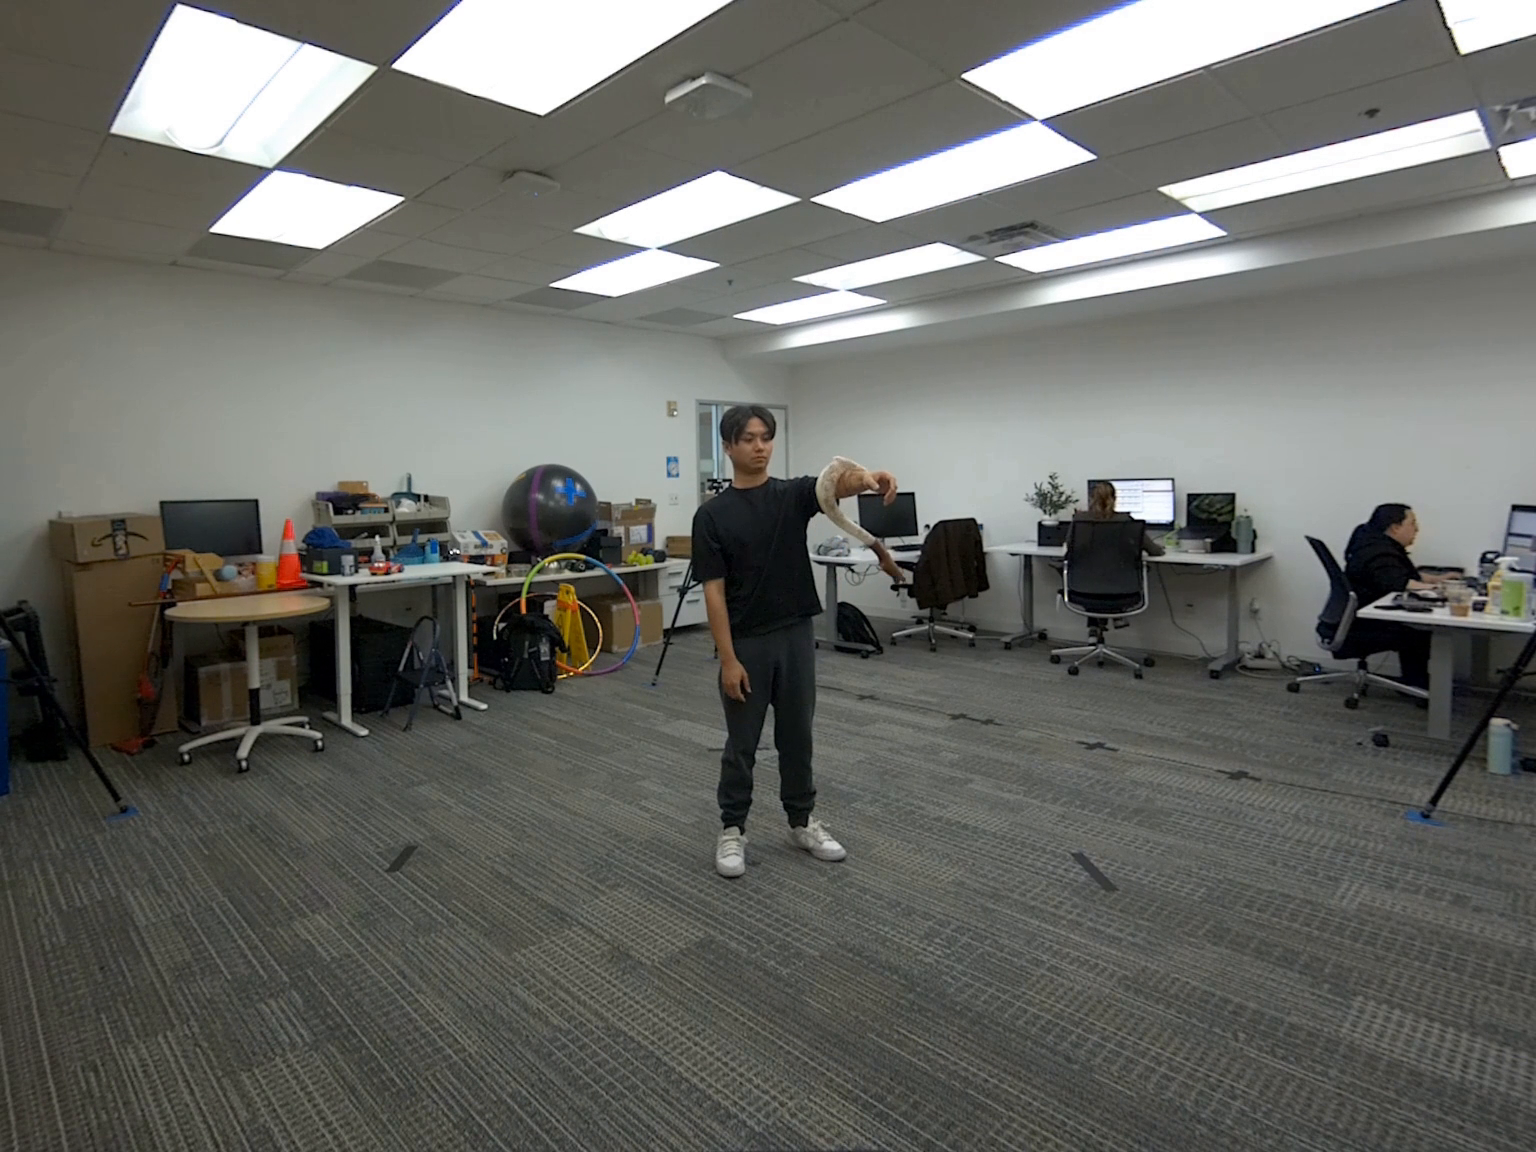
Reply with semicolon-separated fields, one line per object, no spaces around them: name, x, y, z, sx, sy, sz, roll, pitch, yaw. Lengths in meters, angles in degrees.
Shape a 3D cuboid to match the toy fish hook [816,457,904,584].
toy fish hook;0.333;-0.179;2.864;0.224;0.492;0.050;-47;25;-16
